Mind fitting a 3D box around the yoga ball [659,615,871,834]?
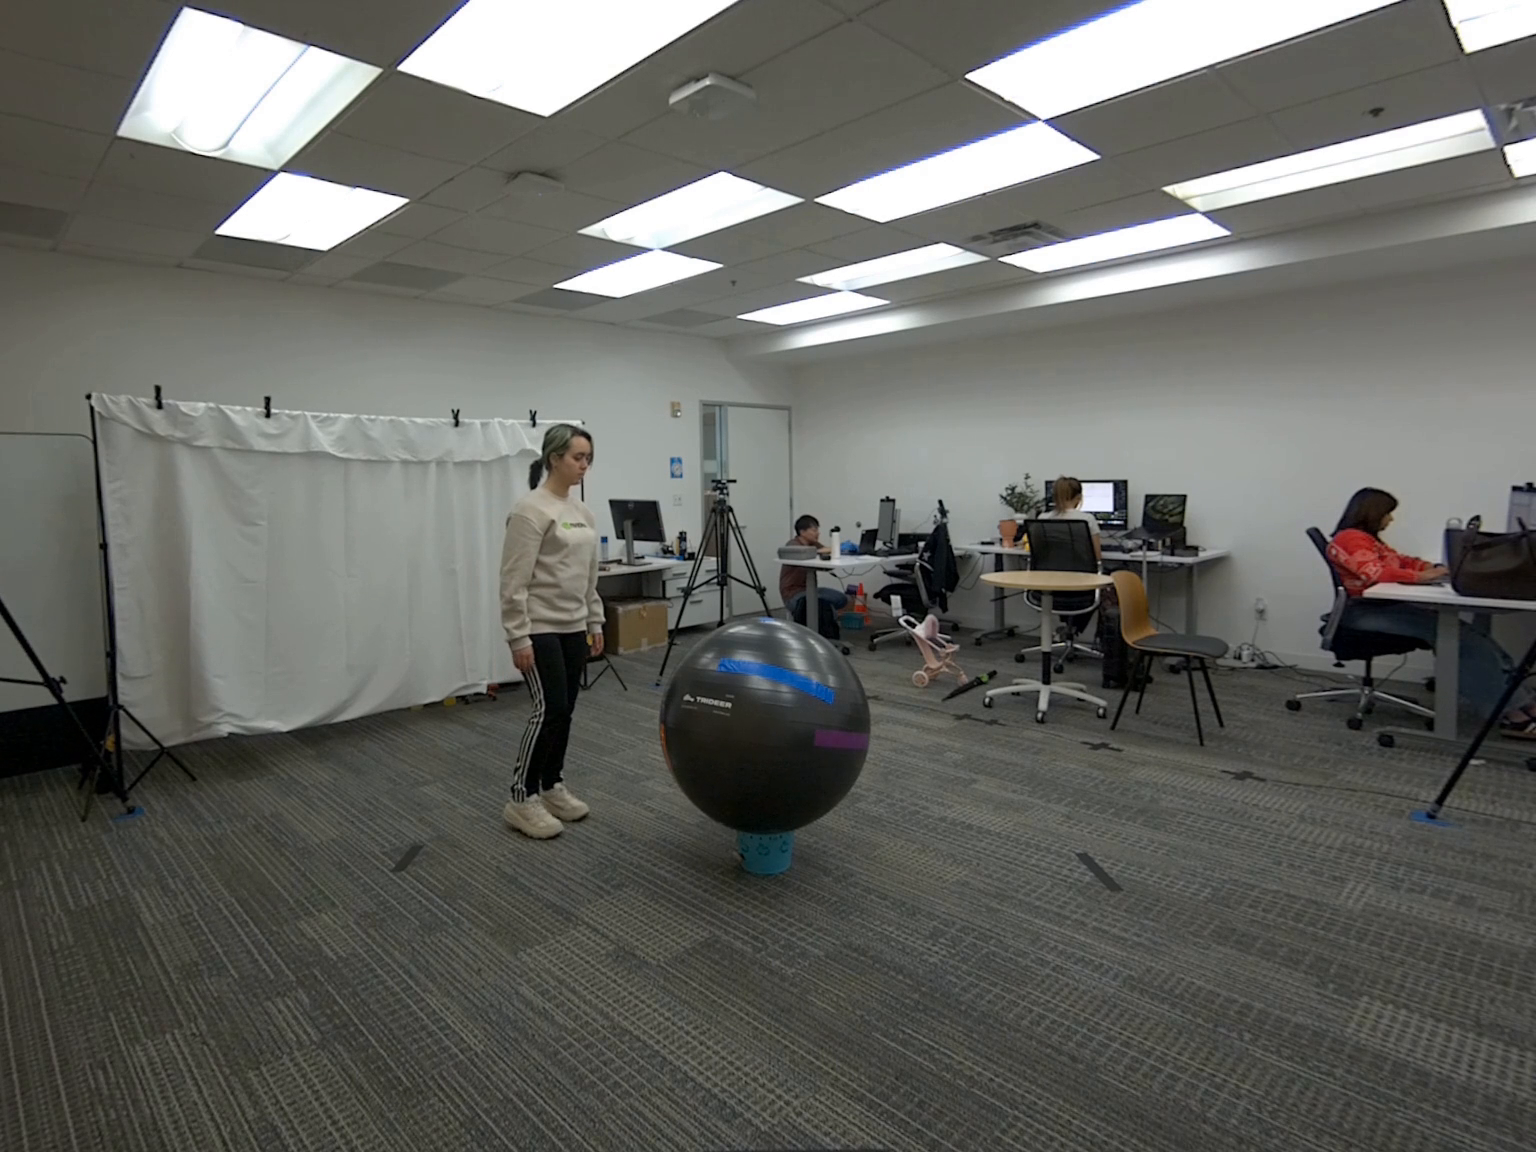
[{"bbox_3d":[-0.007,0.536,3.089,0.757,0.755,0.762,-1,5,-2],"label":"yoga ball"}]
